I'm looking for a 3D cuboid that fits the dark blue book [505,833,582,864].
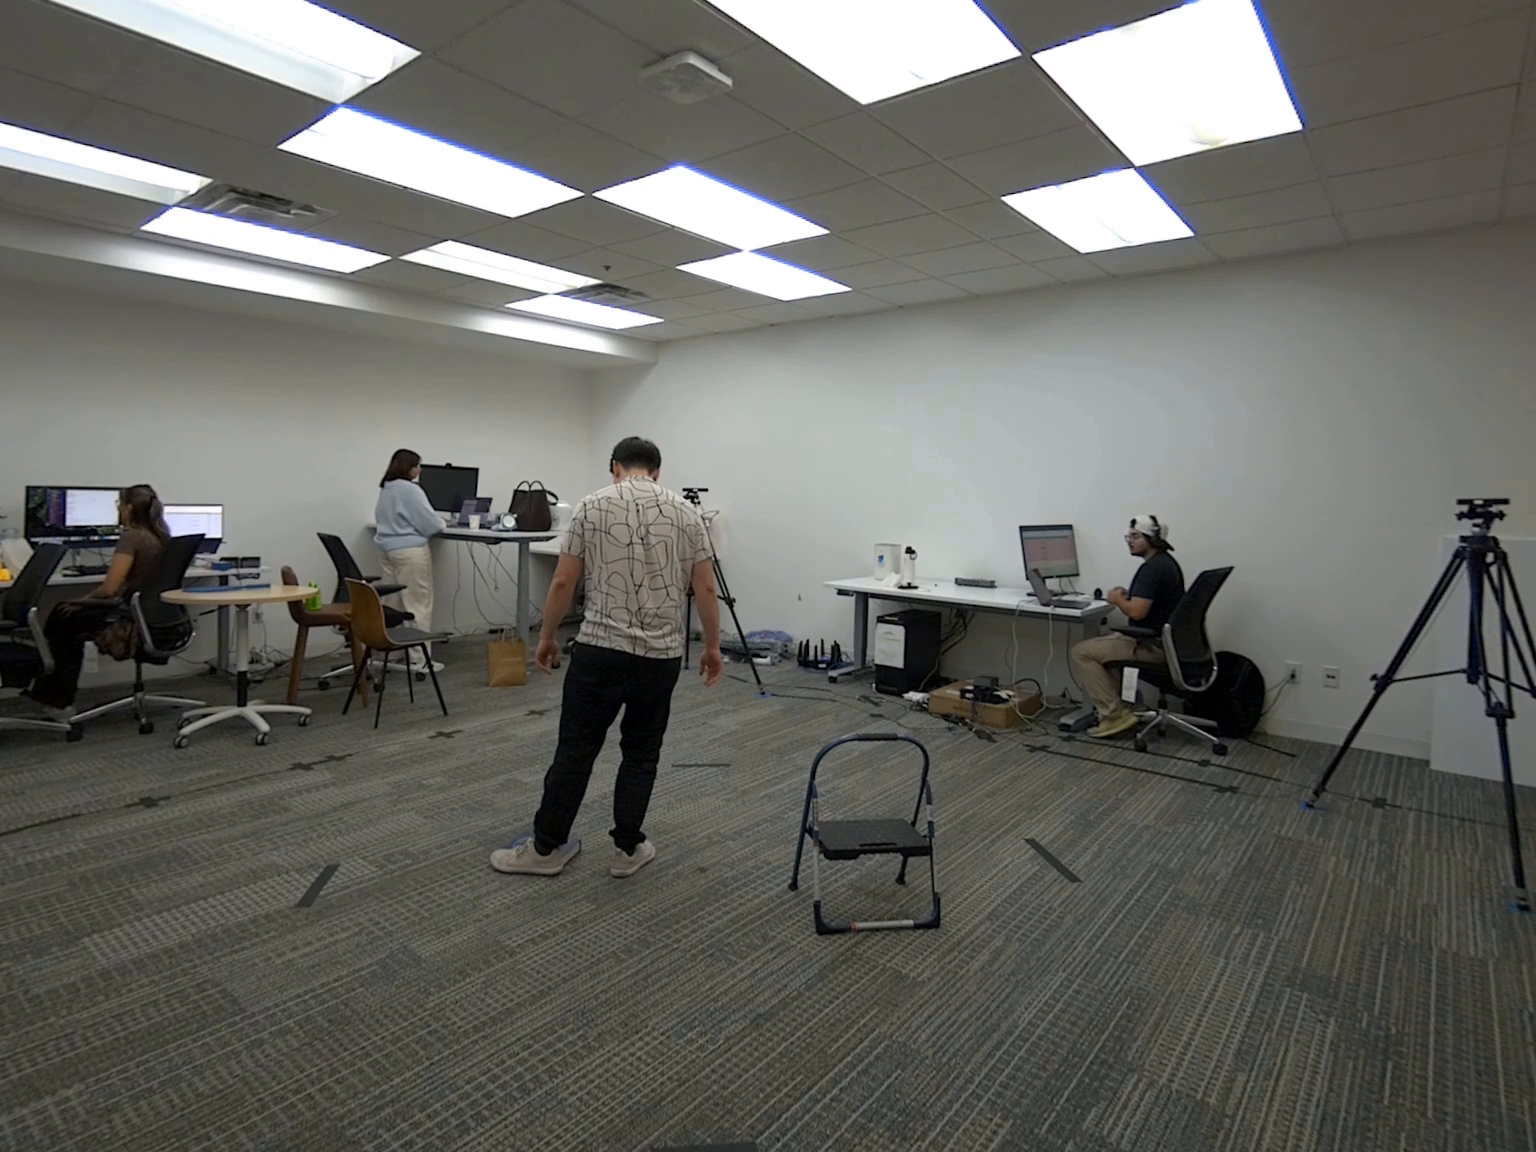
[{"bbox_3d":[-0.852,1.021,3.197,0.249,0.045,0.161,2,6,14],"label":"dark blue book"}]
